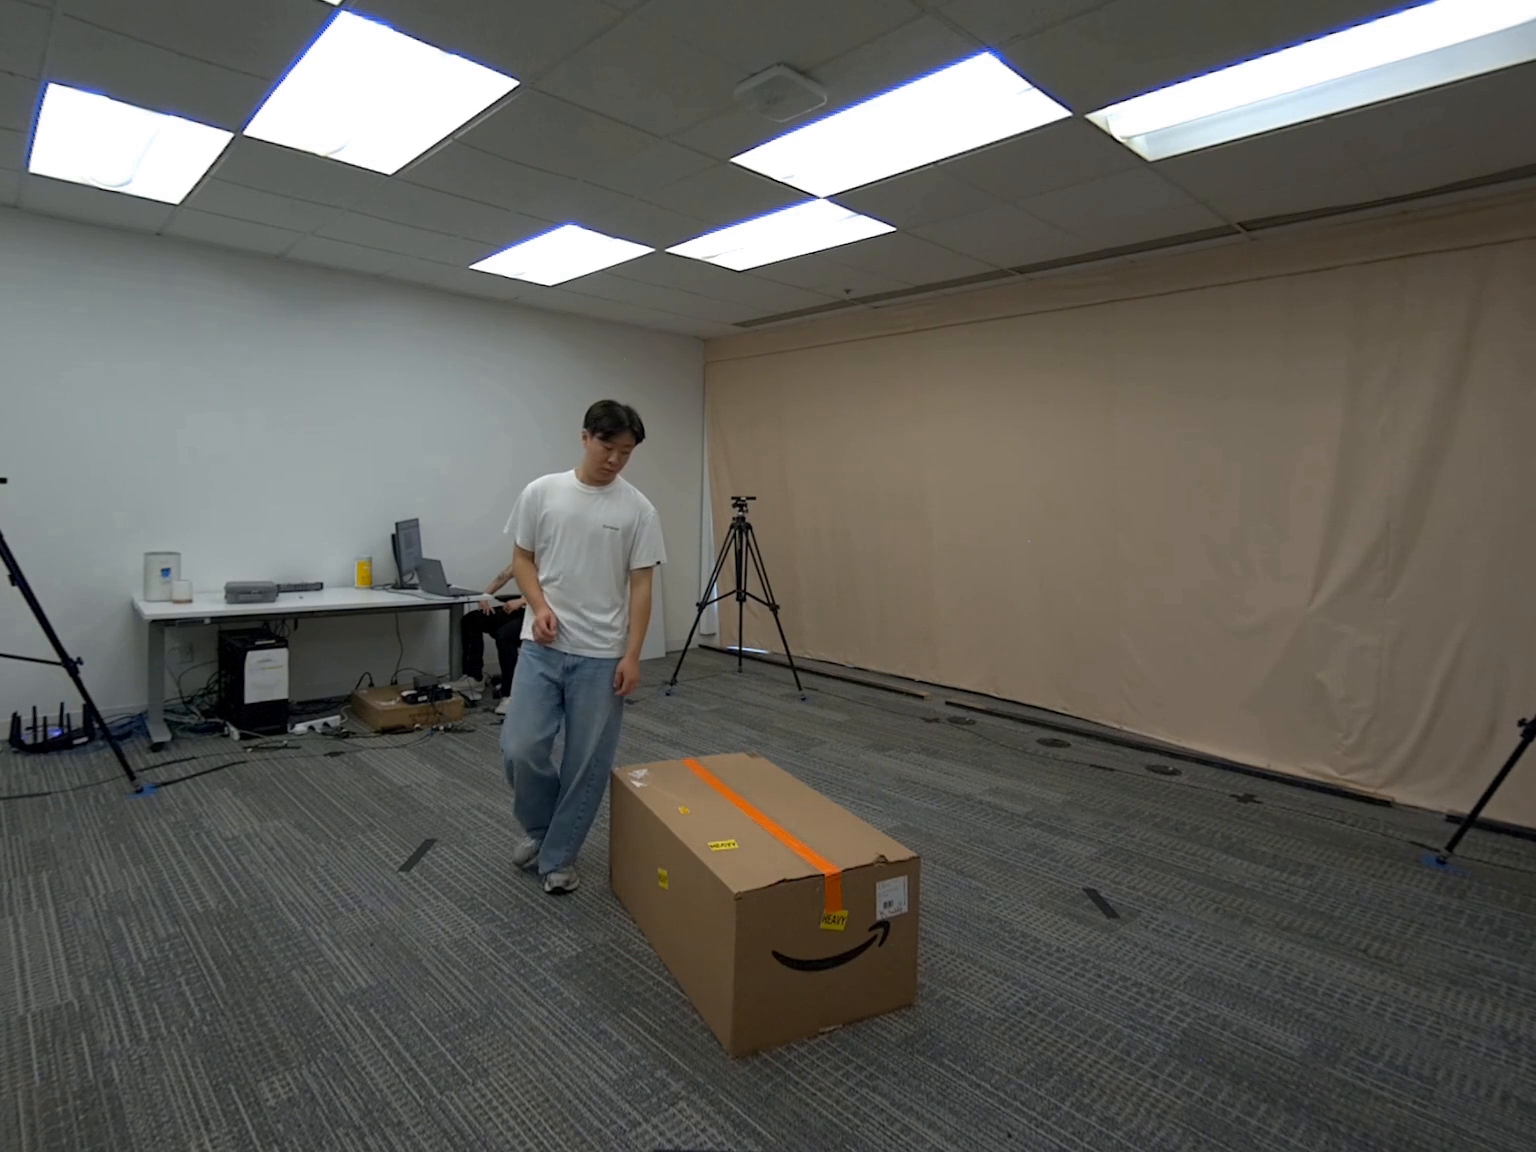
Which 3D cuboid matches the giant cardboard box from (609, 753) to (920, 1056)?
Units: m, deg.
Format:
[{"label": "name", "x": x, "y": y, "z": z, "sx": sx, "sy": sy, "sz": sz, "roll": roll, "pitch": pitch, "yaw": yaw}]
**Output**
[{"label": "giant cardboard box", "x": -0.073, "y": 0.937, "z": 2.653, "sx": 0.567, "sy": 0.425, "sz": 1.048, "roll": -1, "pitch": 6, "yaw": -27}]
